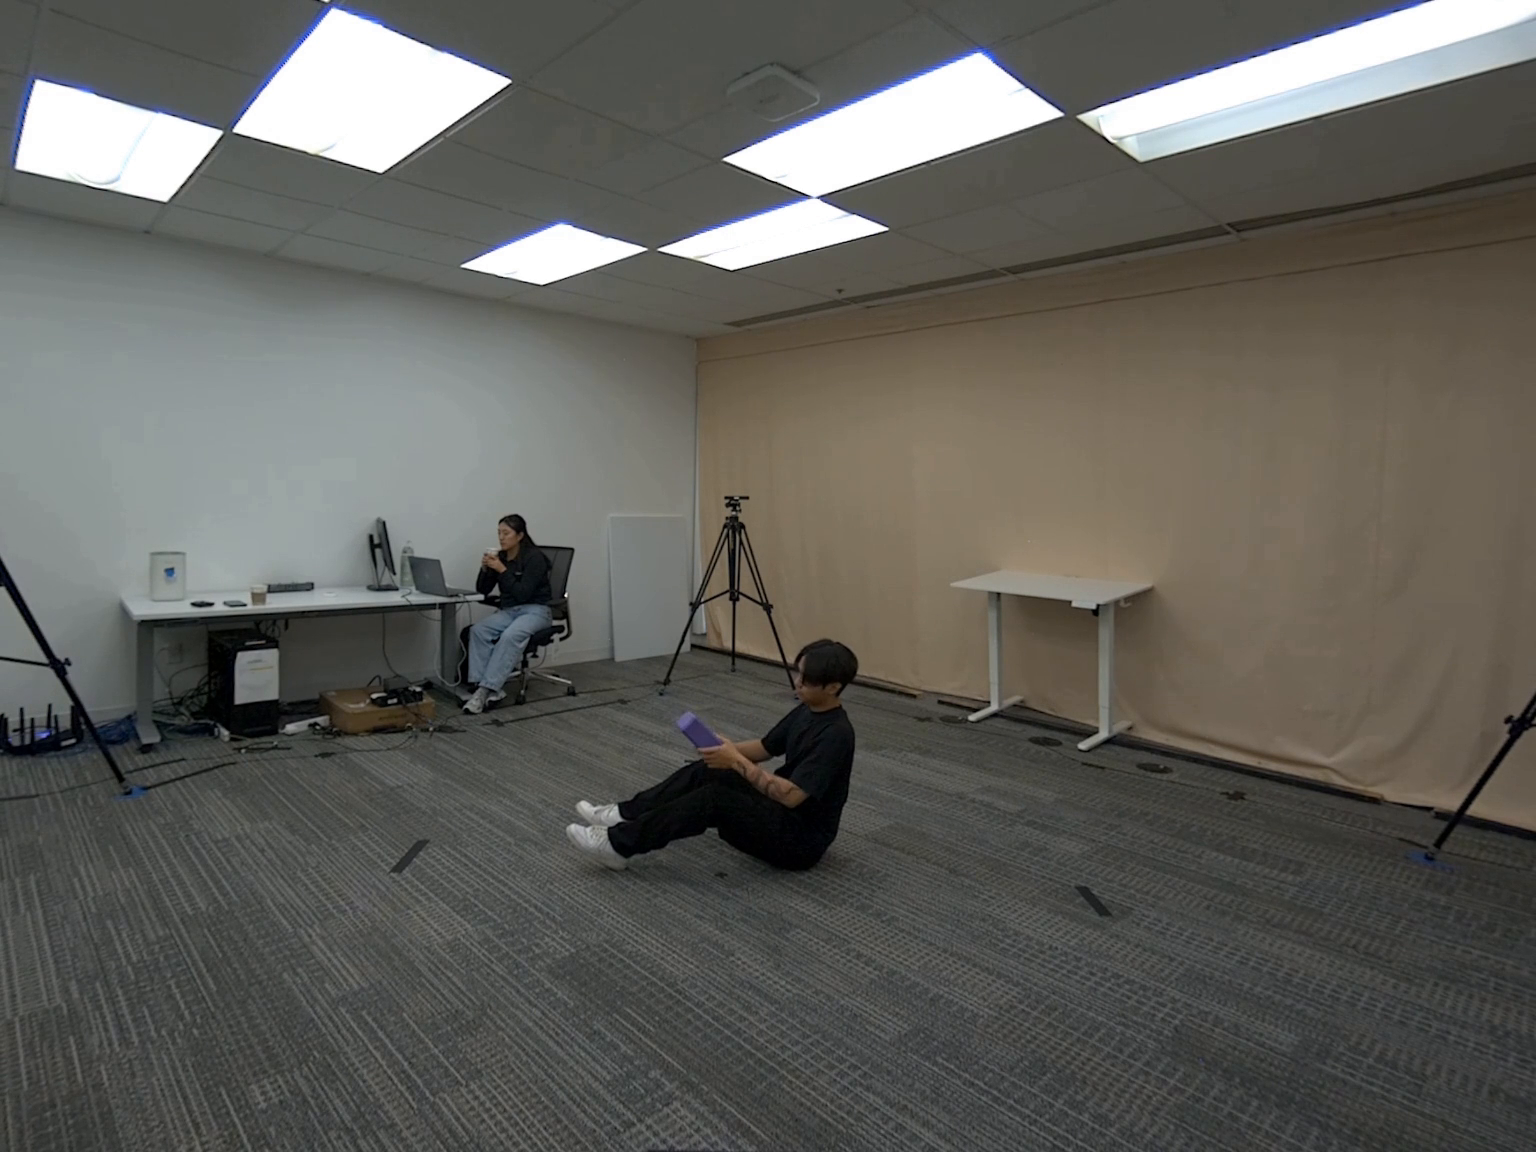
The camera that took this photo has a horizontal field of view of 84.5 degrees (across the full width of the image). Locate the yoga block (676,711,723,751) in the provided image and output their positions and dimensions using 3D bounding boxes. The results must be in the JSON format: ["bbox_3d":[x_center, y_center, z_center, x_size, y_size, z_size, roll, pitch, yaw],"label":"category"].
[{"bbox_3d":[-0.237,0.614,3.169,0.226,0.076,0.151,45,-10,-12],"label":"yoga block"}]
